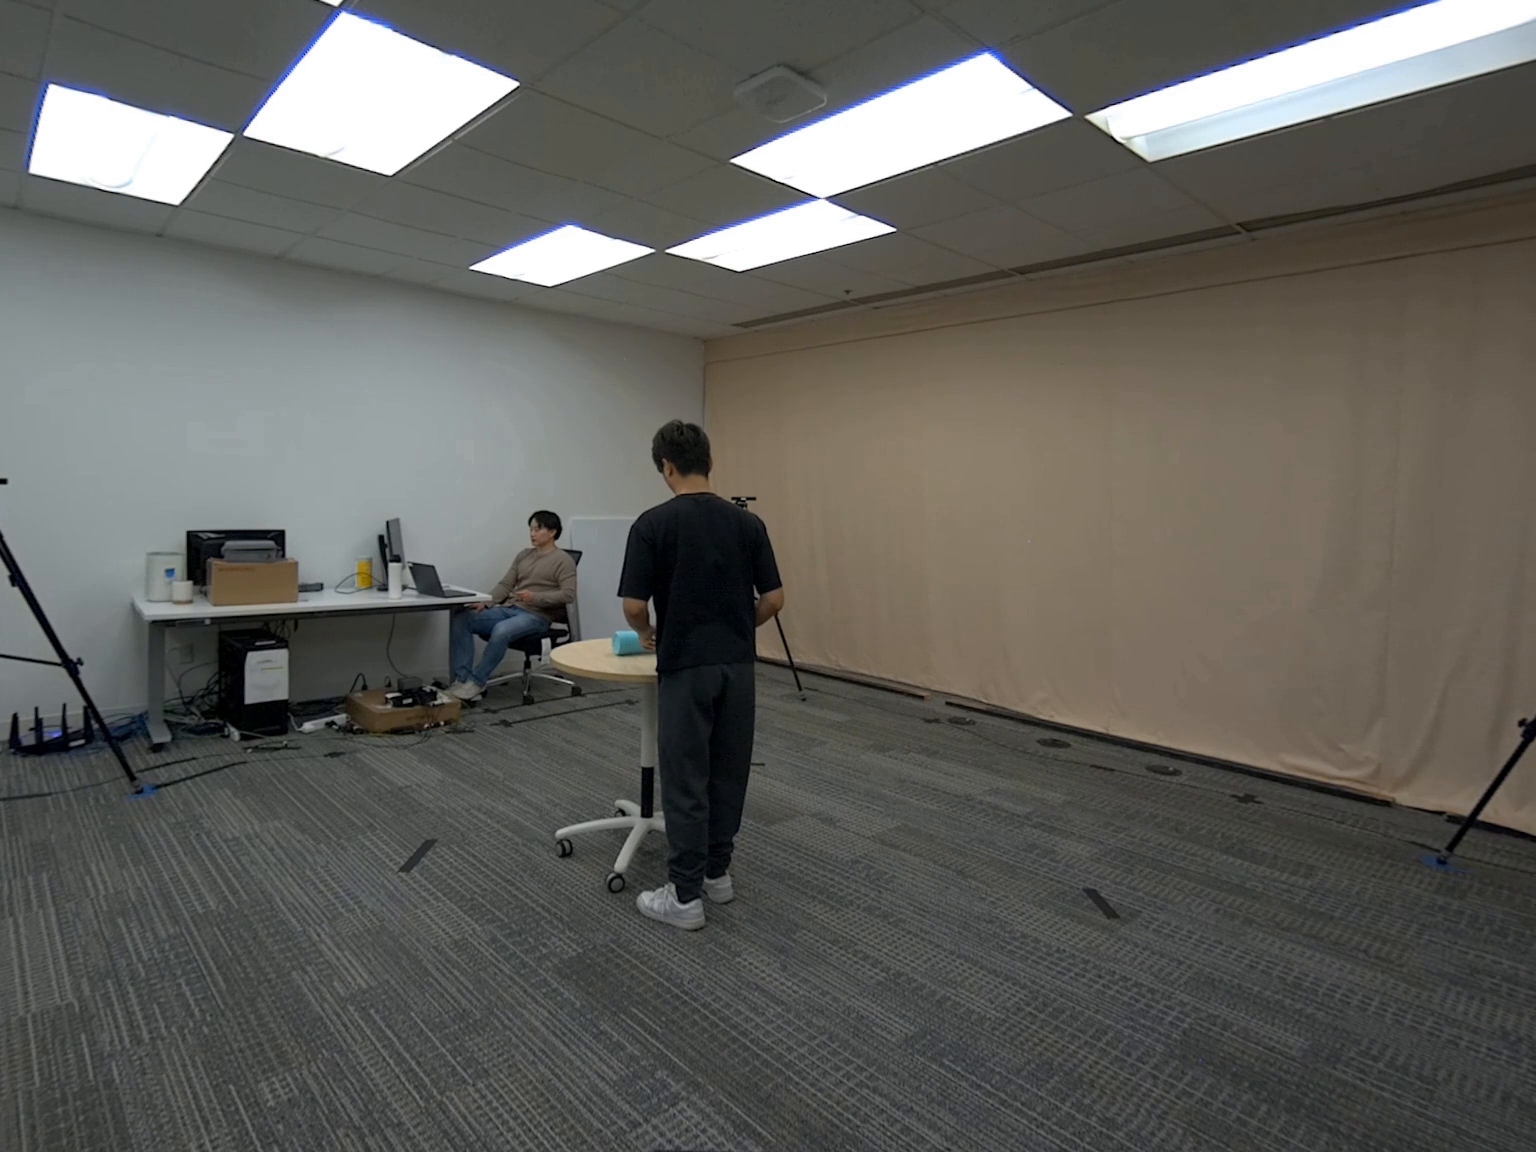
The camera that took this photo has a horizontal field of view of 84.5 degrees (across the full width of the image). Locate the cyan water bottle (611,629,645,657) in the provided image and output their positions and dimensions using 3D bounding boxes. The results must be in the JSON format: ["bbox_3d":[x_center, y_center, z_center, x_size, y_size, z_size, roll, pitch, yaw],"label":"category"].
[{"bbox_3d":[-0.464,0.253,3.275,0.278,0.092,0.094,-3,6,-29],"label":"cyan water bottle"}]
